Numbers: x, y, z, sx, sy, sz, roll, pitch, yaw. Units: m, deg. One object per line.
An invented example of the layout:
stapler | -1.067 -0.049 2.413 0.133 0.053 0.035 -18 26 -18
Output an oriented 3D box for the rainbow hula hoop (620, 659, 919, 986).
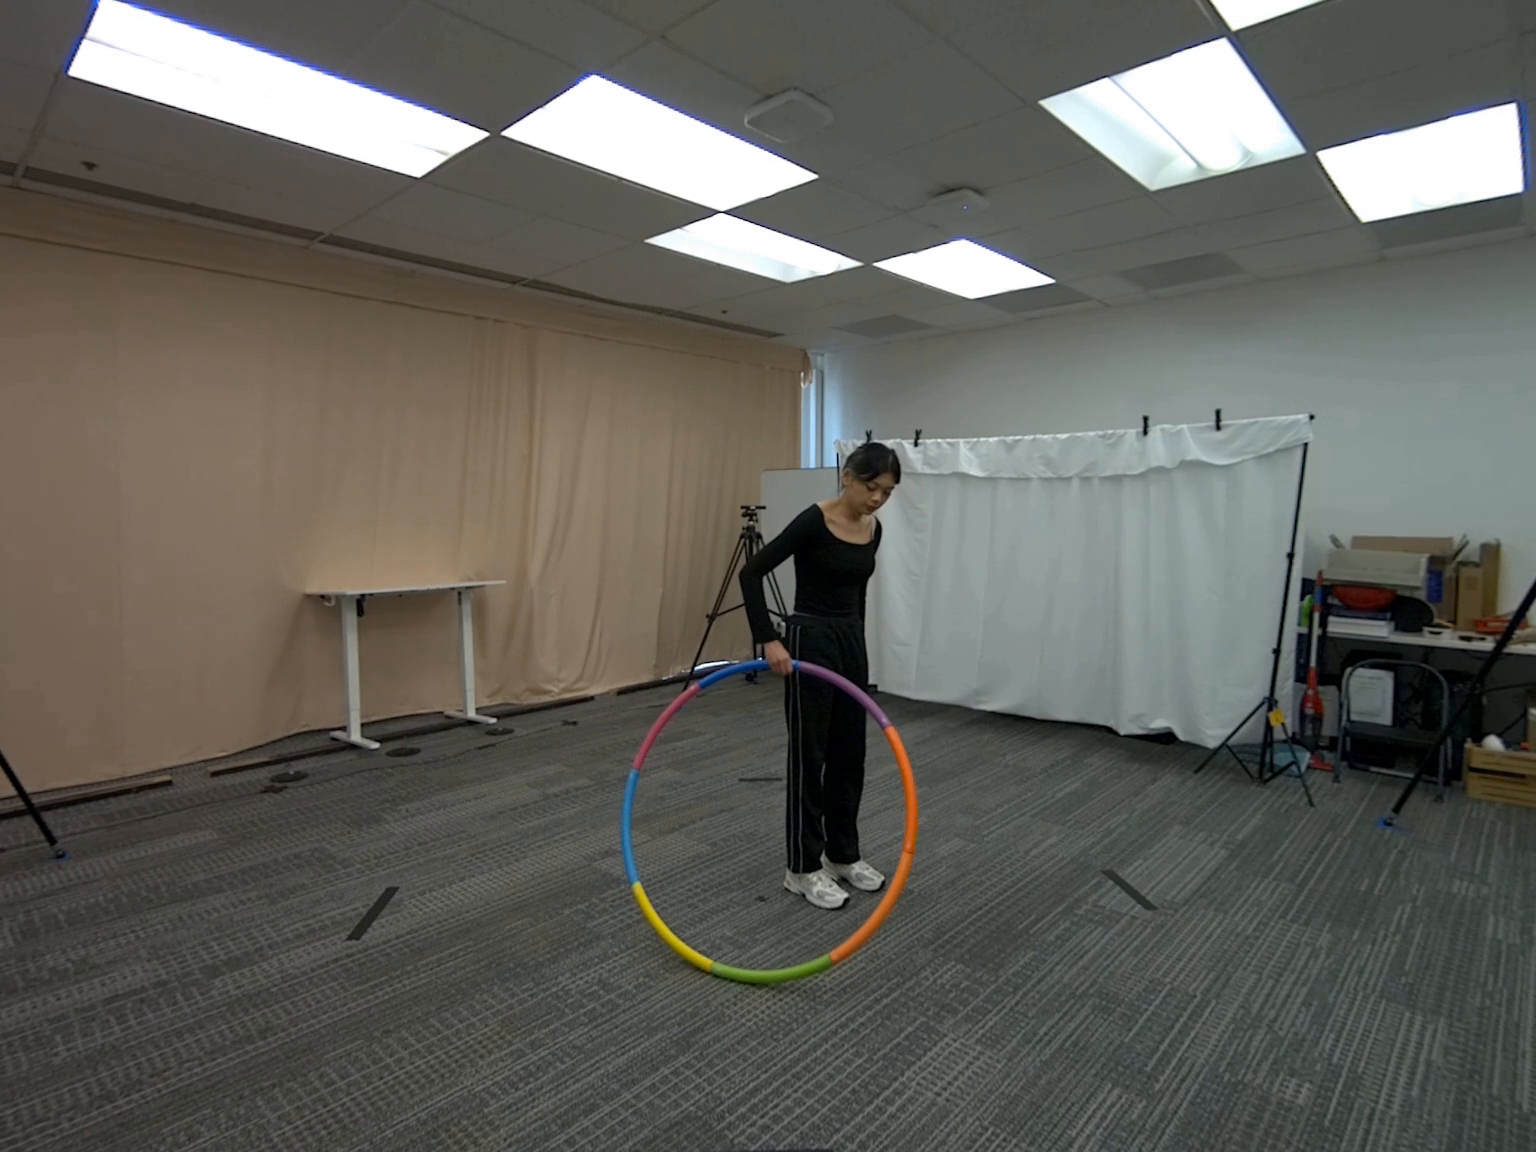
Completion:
rainbow hula hoop | -0.028 0.730 2.662 1.004 0.986 0.034 1 -25 25
